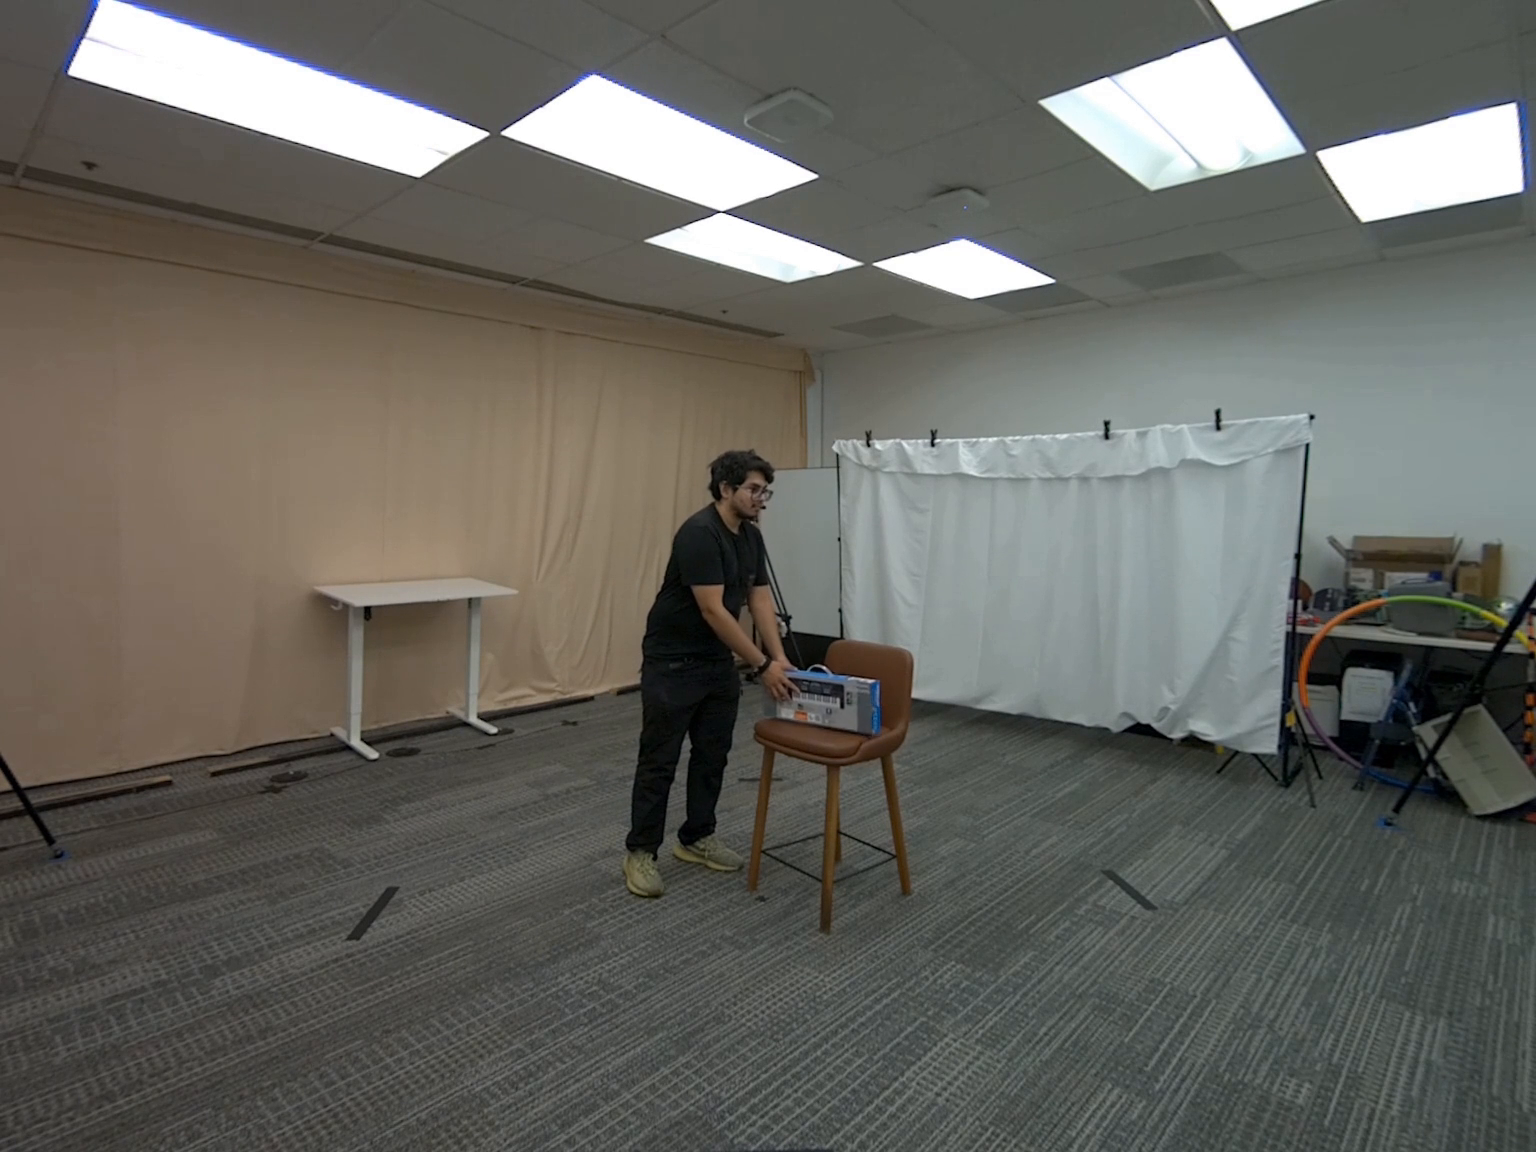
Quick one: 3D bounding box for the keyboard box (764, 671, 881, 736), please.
[{"bbox_3d":[0.185,0.428,2.952,0.451,0.175,0.057,2,5,37],"label":"keyboard box"}]
